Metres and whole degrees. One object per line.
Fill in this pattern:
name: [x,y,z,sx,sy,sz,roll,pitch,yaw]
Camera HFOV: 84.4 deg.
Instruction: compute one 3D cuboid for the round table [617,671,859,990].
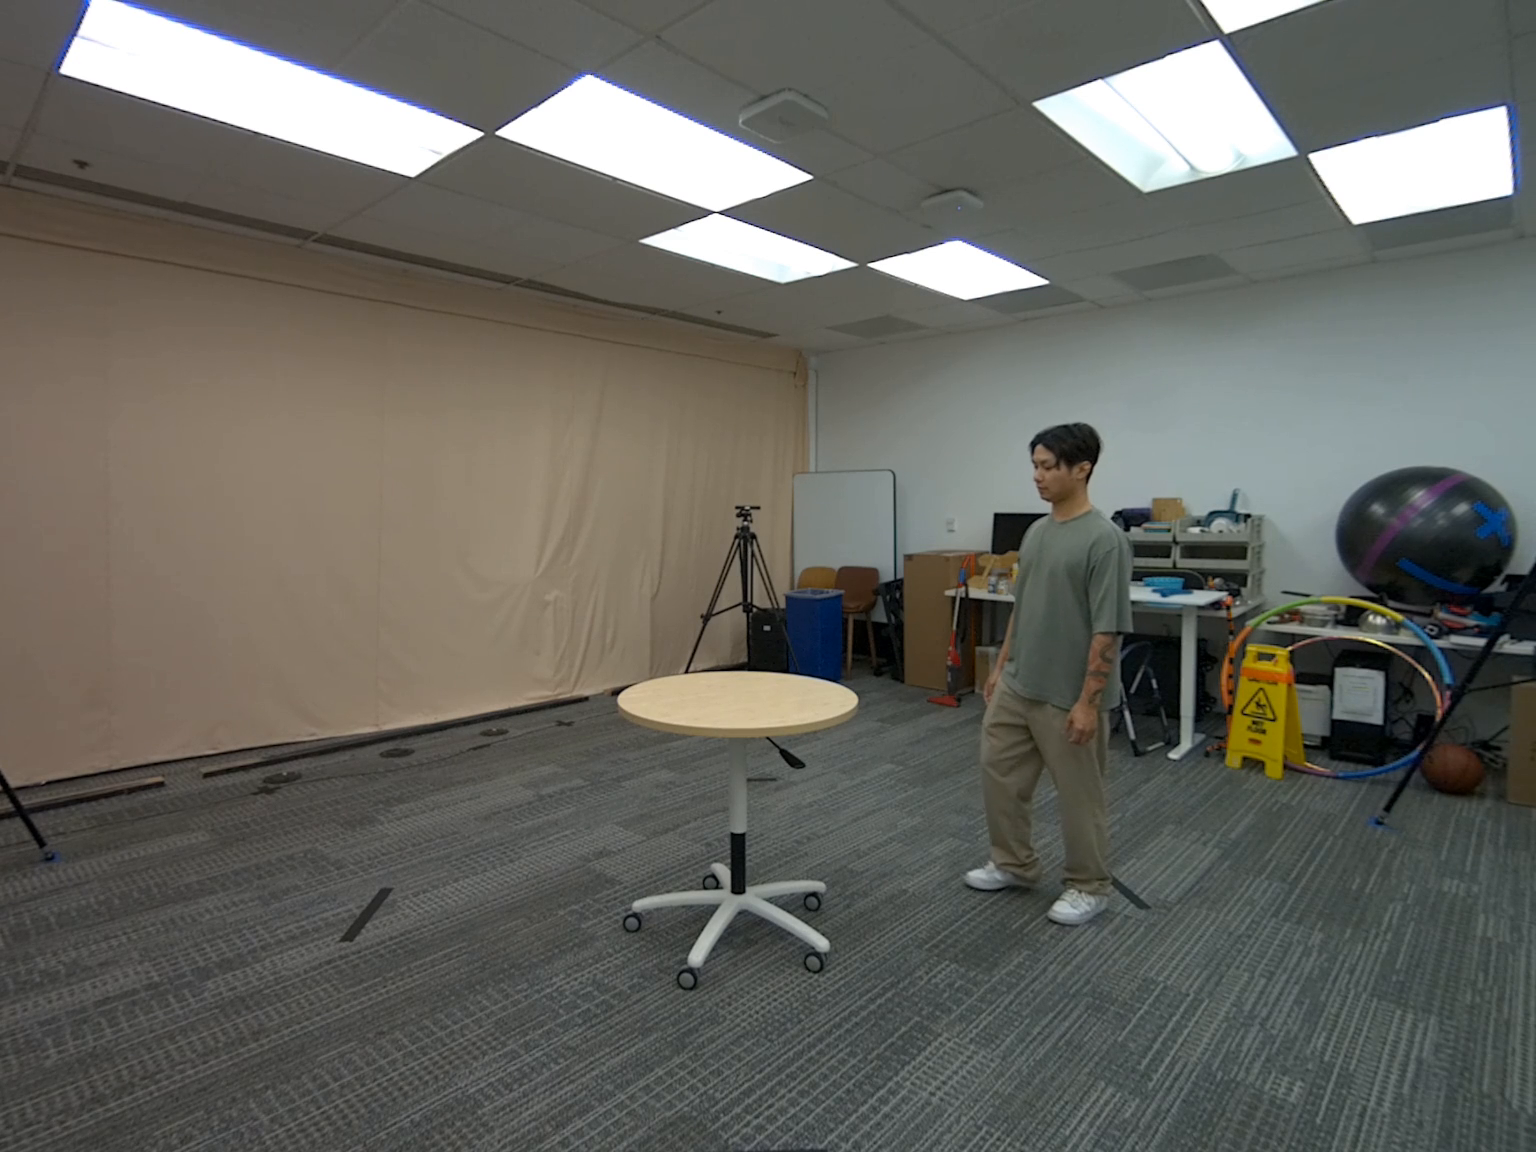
round table: [-0.109,0.778,2.713,0.784,0.785,0.788,0,4,-2]
